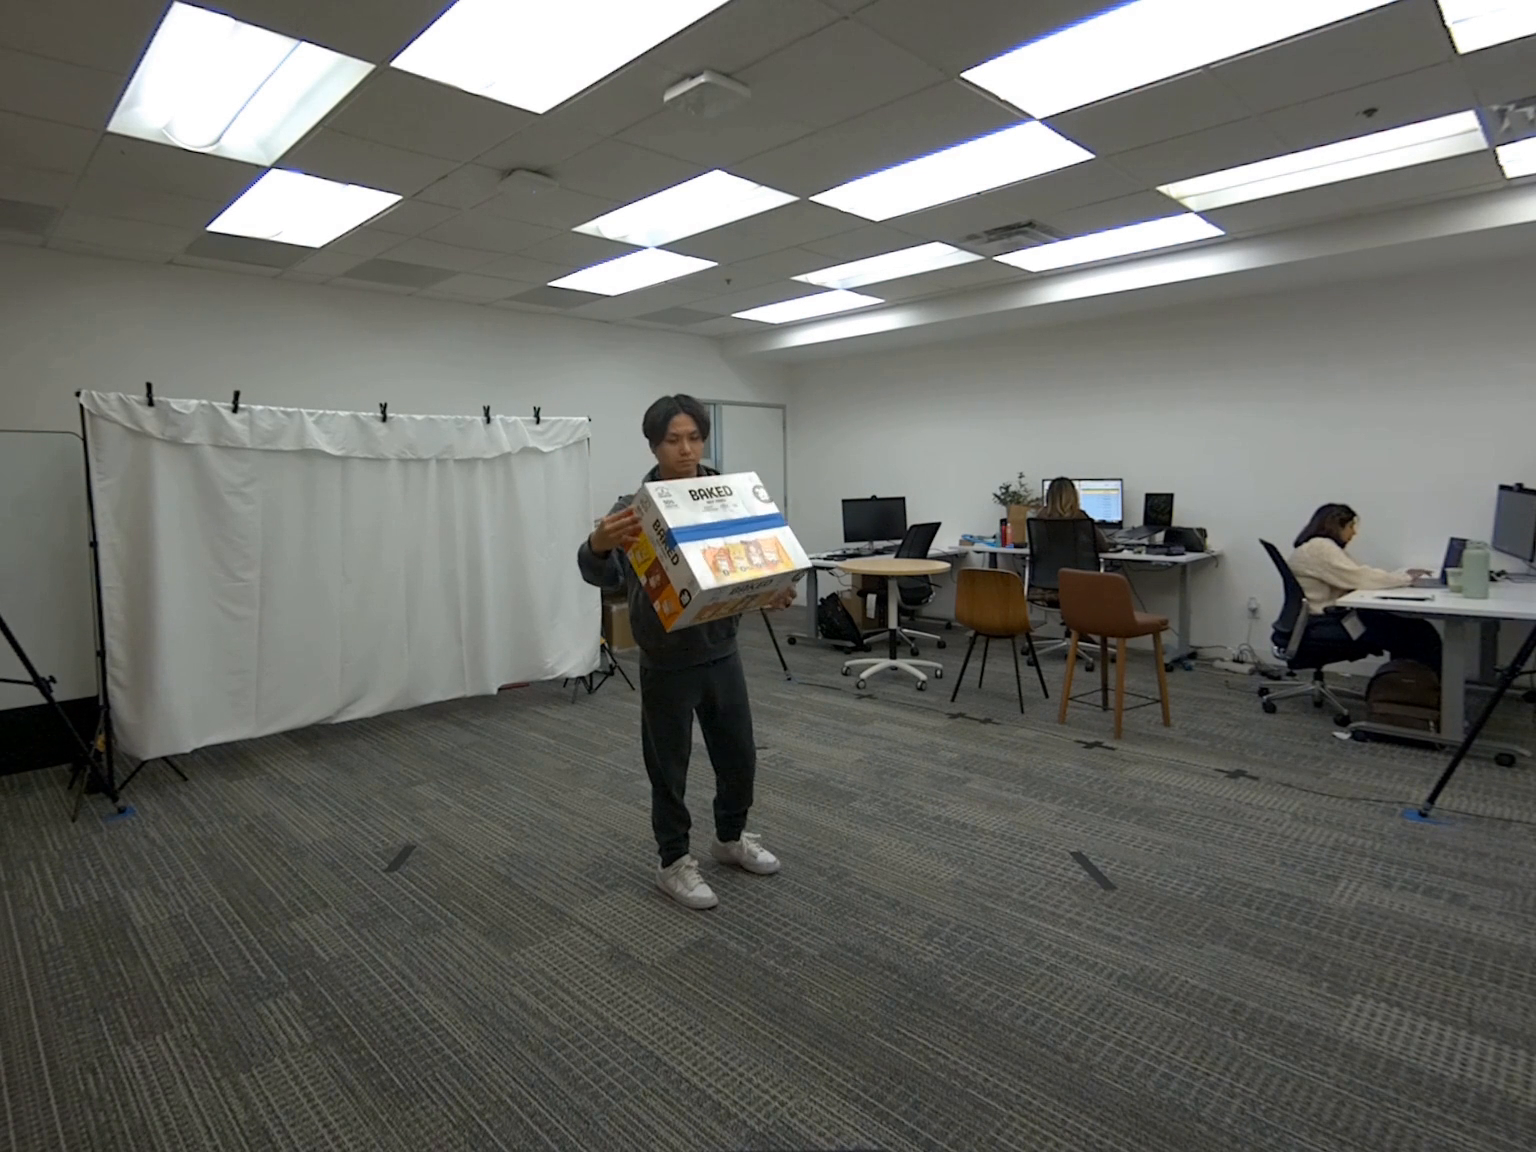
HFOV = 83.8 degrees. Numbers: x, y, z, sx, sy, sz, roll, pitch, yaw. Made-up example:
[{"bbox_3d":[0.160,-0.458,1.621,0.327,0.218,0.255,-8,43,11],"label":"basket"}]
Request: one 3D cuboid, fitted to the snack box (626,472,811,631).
[{"bbox_3d":[-0.153,-0.074,2.358,0.396,0.349,0.205,-11,-28,-41],"label":"snack box"}]
